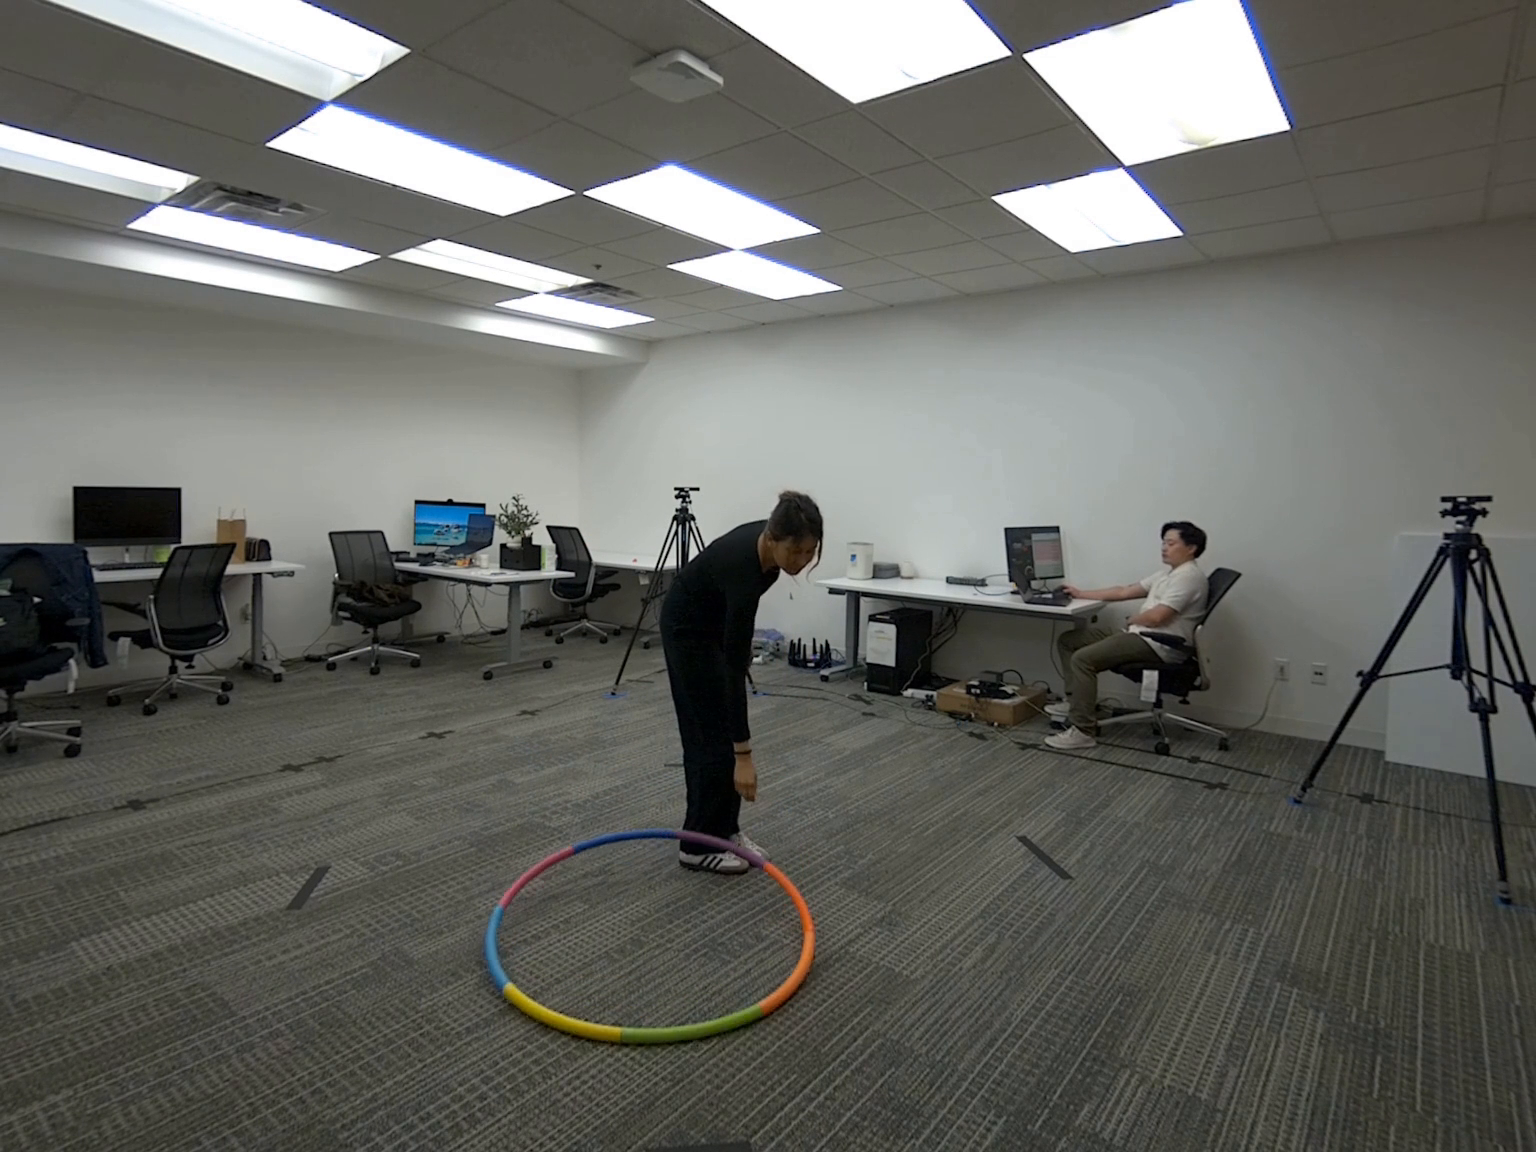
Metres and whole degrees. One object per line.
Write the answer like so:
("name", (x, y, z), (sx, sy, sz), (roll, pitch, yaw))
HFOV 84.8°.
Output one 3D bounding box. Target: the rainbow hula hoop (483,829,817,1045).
("rainbow hula hoop", (-0.359, 1.031, 2.592), (0.984, 0.051, 0.996), (0, 11, -2))
